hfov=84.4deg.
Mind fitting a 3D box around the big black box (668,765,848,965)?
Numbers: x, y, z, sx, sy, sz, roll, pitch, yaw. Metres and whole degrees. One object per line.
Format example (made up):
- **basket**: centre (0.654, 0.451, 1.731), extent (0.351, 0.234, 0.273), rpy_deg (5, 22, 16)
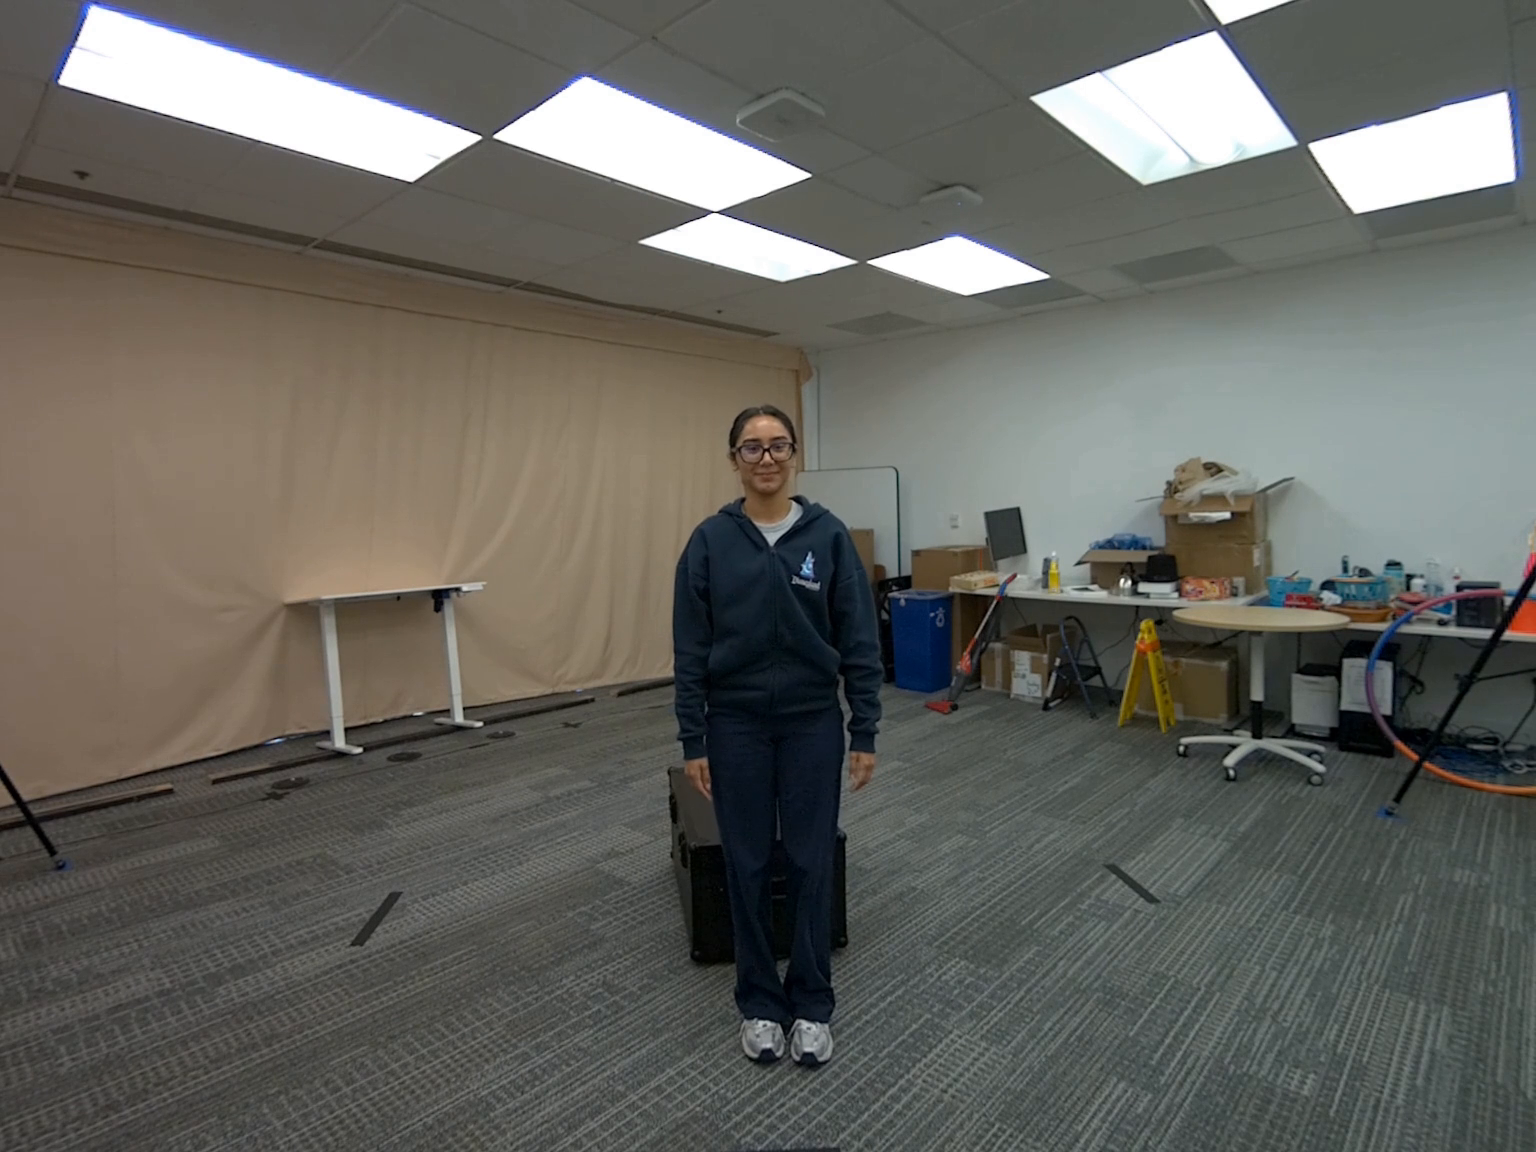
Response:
- **big black box**: centre (-0.074, 0.946, 2.969), extent (0.516, 0.395, 0.873), rpy_deg (-2, 6, -11)
